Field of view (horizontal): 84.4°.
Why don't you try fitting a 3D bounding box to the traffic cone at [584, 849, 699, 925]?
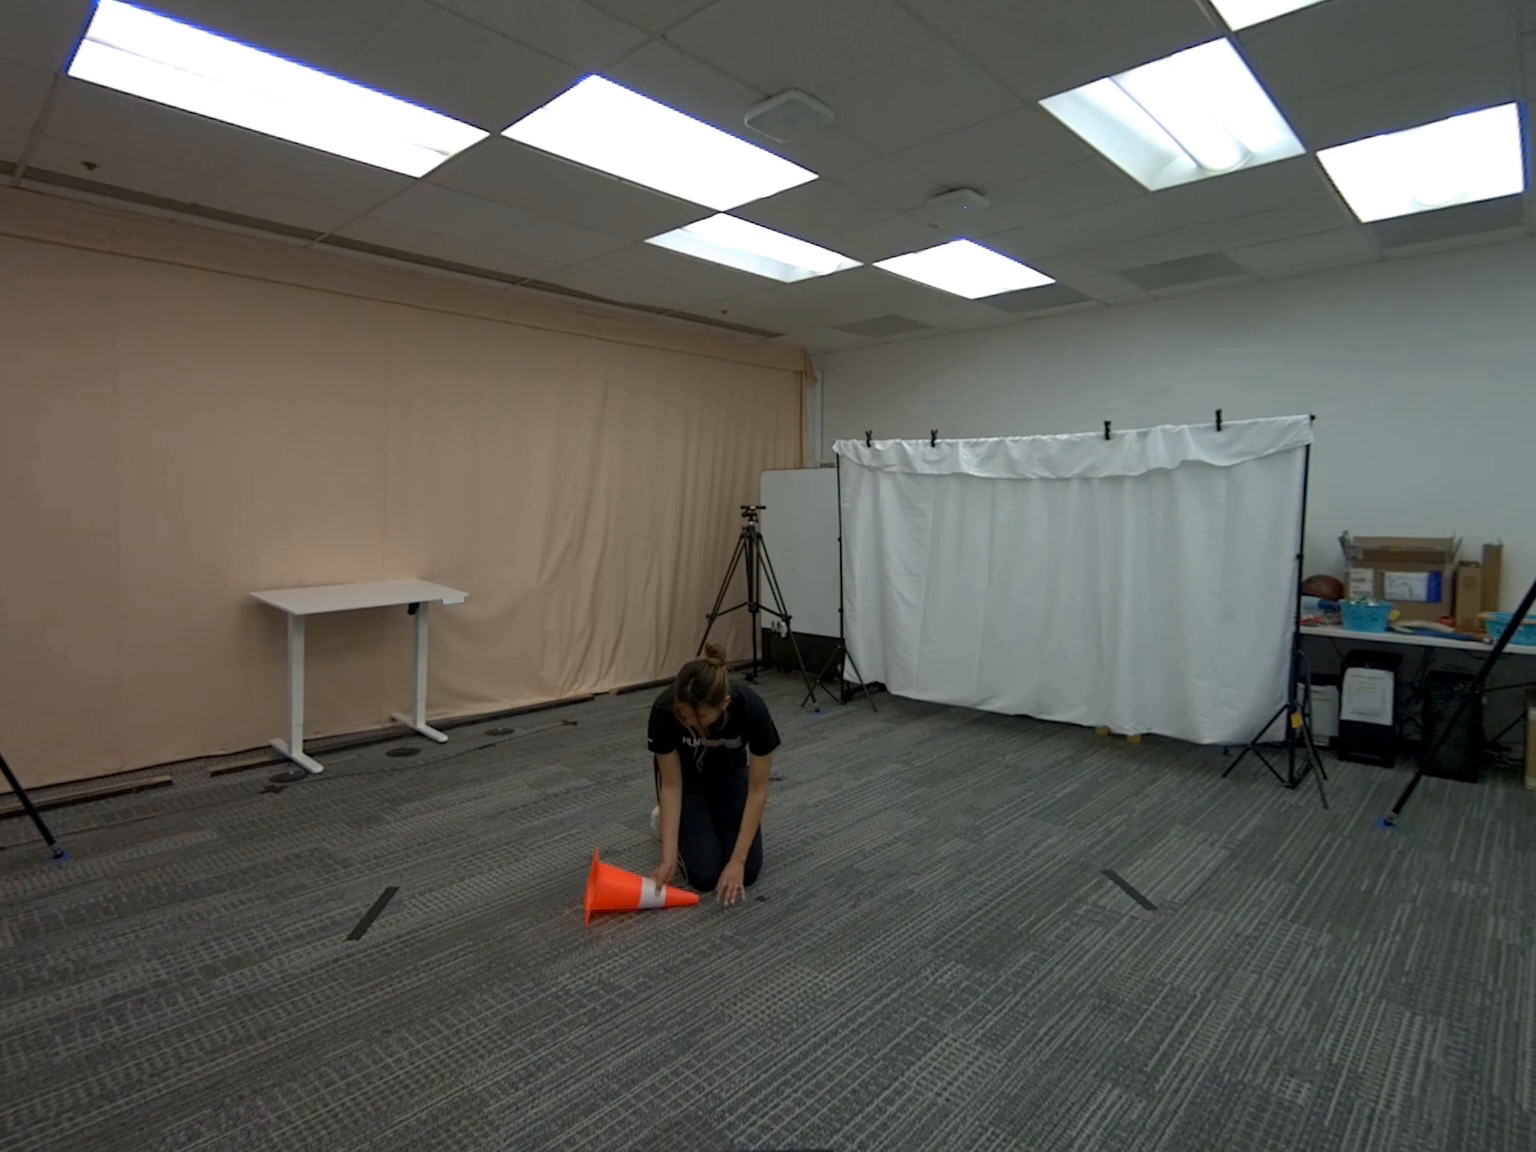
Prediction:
[{"bbox_3d":[-0.426,1.100,2.916,0.378,0.203,0.209,14,7,-13],"label":"traffic cone"}]
